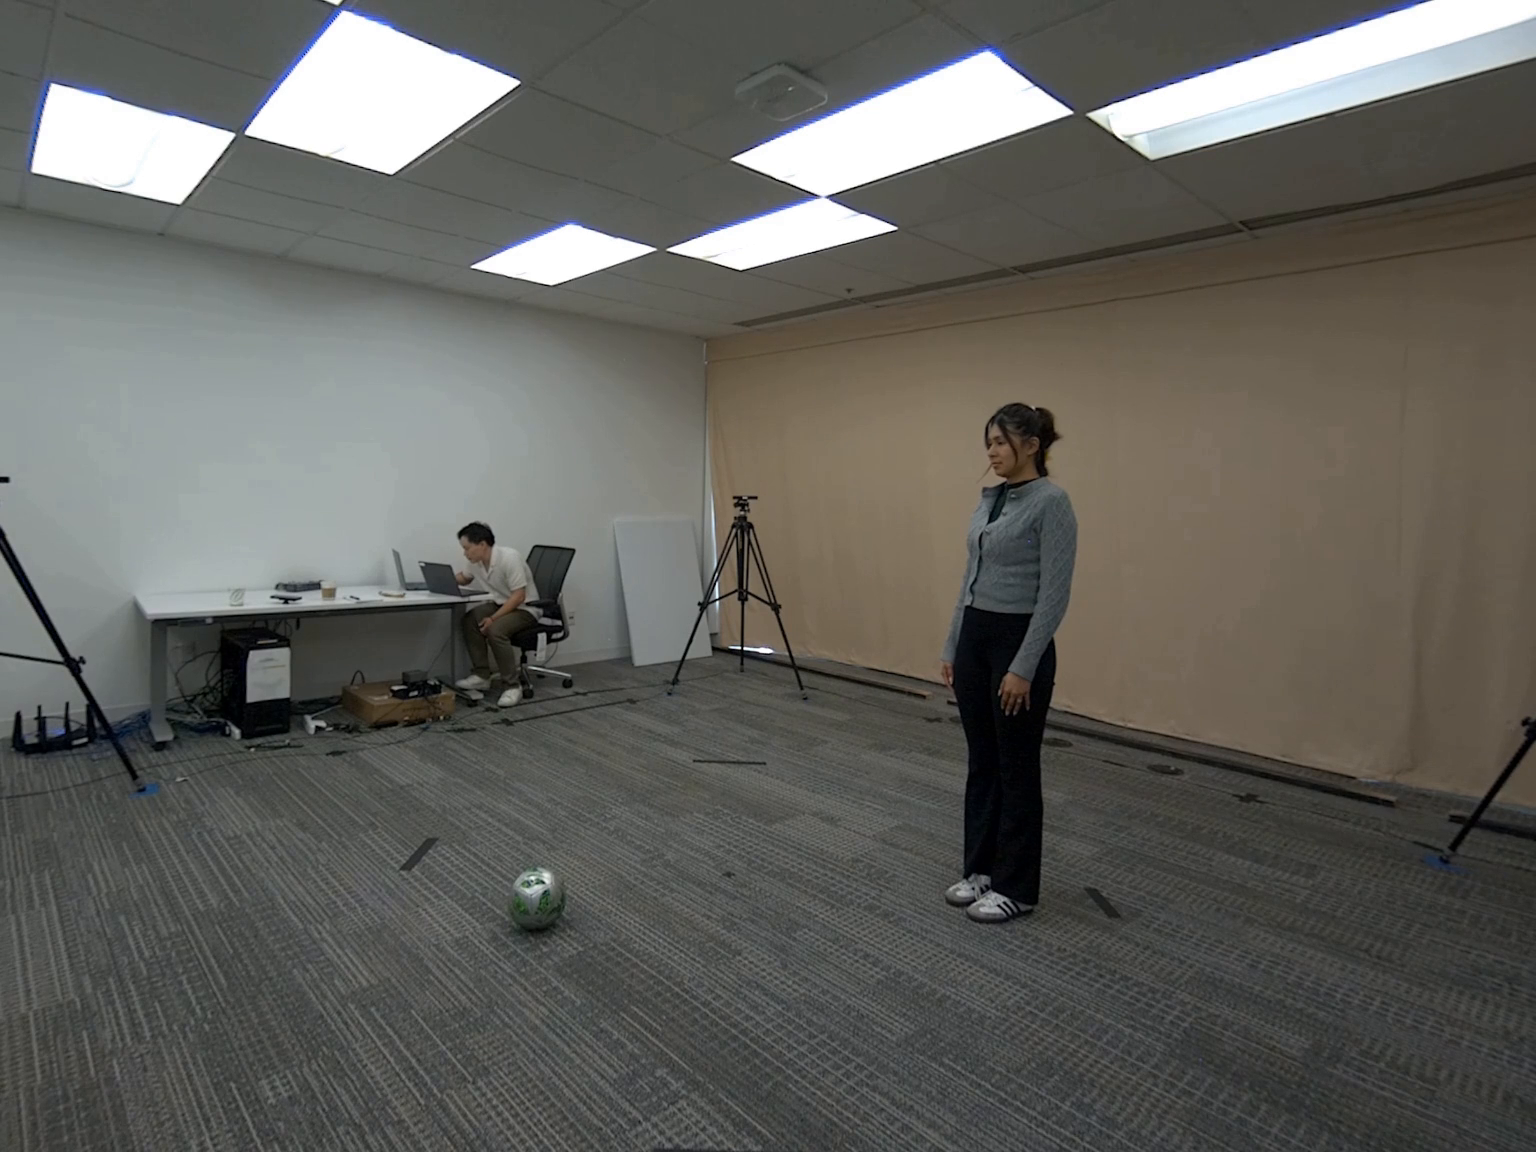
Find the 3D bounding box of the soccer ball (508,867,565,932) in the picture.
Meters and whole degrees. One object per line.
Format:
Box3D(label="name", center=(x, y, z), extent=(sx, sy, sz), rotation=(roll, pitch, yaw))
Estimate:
Box3D(label="soccer ball", center=(-0.750, 1.035, 2.696), extent=(0.187, 0.187, 0.188), rotation=(1, 4, -1))
